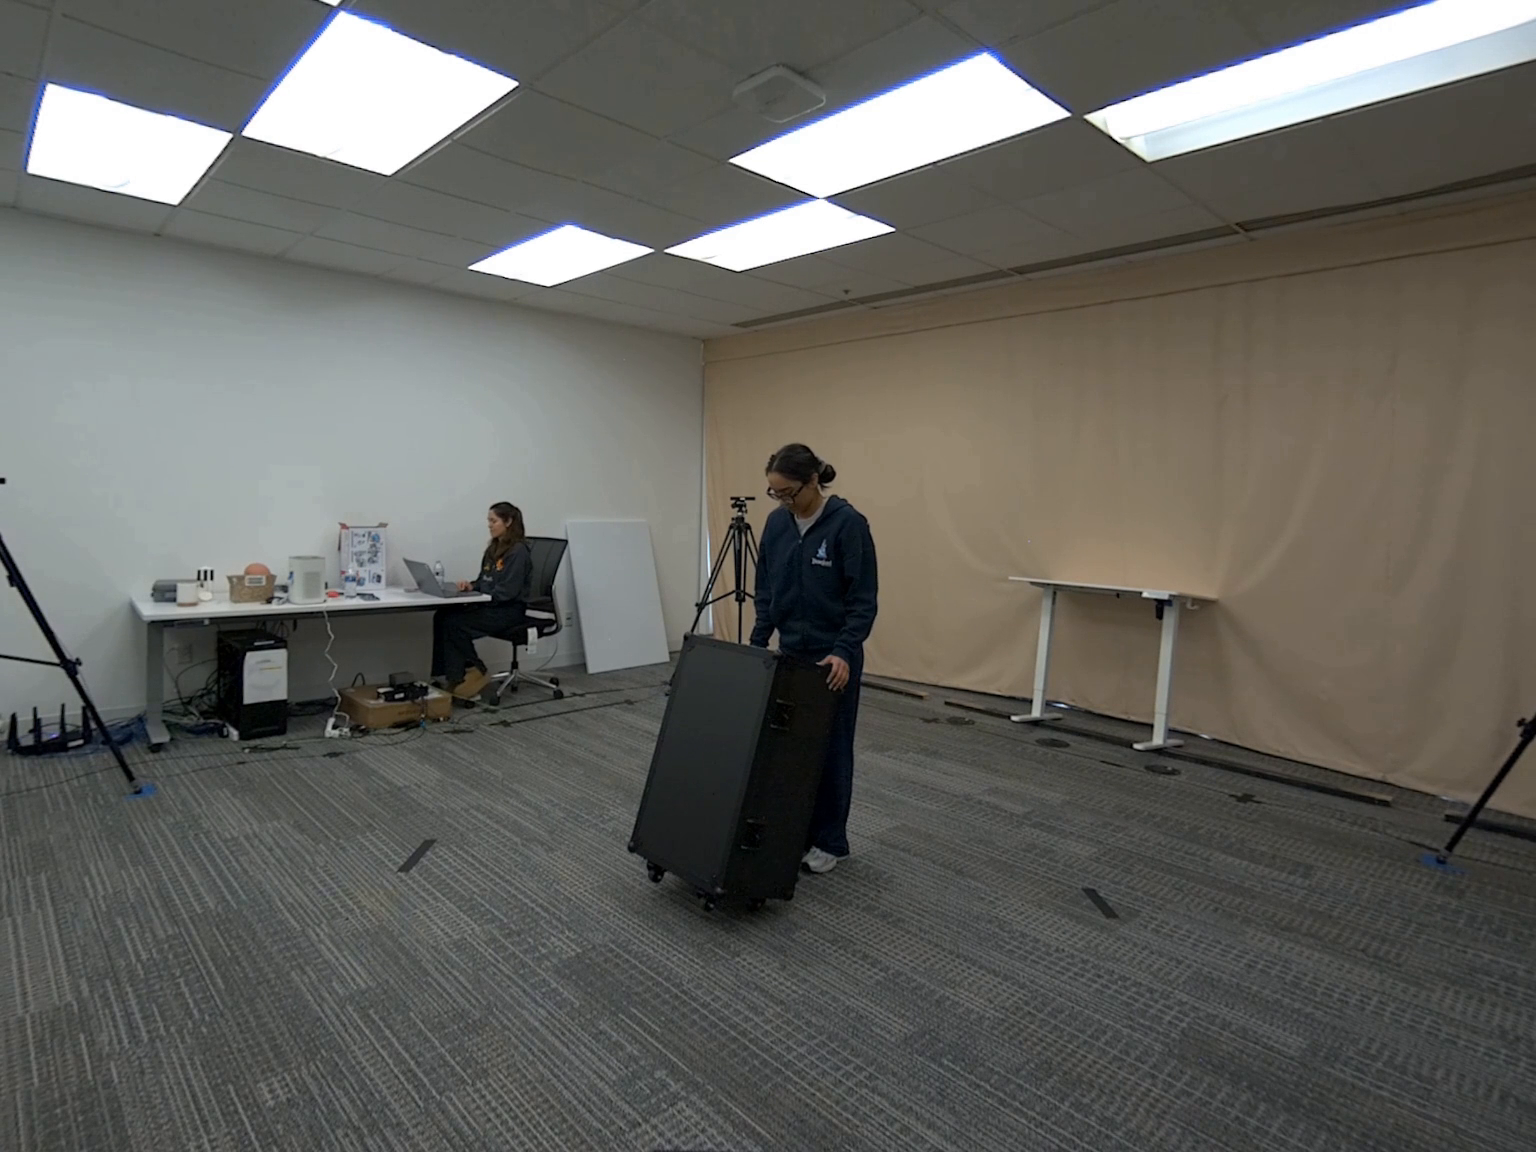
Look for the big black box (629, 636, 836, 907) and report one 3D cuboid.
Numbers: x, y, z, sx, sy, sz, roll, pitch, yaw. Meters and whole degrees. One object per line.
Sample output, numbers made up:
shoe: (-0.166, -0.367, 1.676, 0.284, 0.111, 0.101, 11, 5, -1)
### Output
big black box: (-0.121, 0.686, 2.948, 0.534, 0.866, 0.384, 4, -14, 44)
